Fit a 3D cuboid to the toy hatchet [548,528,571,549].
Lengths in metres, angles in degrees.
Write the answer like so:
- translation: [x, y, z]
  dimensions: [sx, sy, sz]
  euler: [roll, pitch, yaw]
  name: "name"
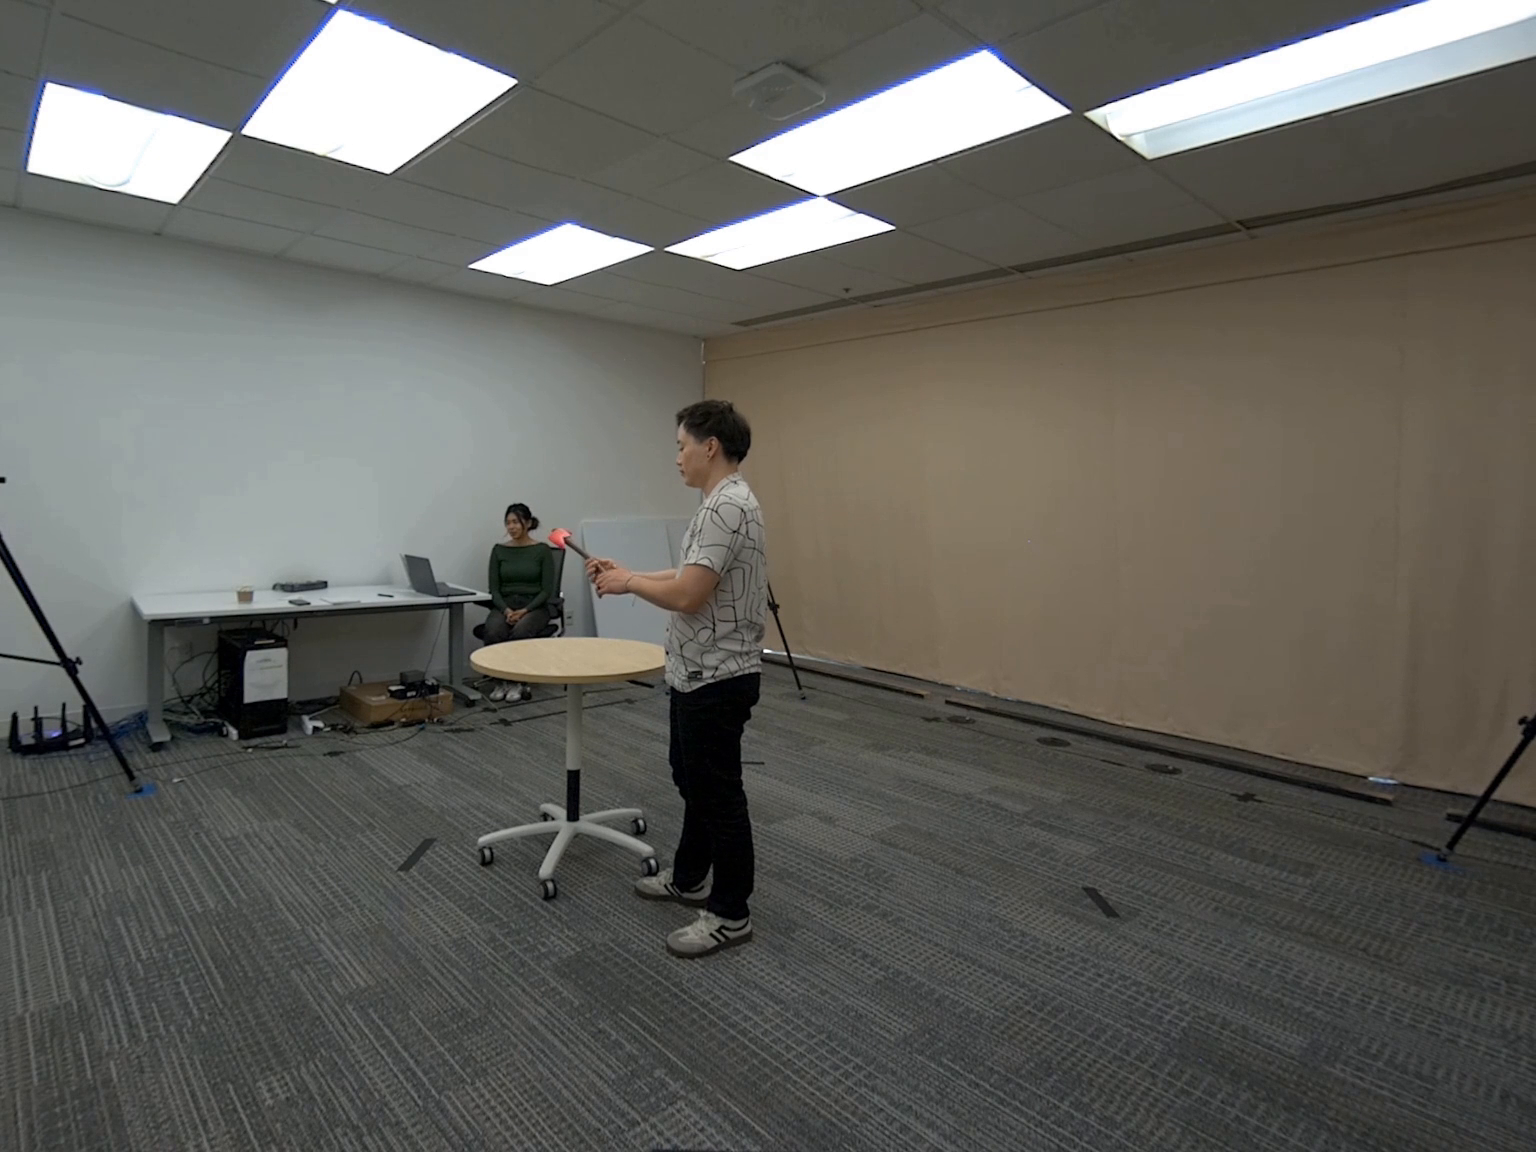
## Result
- translation: [-0.600, -0.063, 2.622]
  dimensions: [0.278, 0.029, 0.128]
  euler: [43, 20, 30]
  name: "toy hatchet"
